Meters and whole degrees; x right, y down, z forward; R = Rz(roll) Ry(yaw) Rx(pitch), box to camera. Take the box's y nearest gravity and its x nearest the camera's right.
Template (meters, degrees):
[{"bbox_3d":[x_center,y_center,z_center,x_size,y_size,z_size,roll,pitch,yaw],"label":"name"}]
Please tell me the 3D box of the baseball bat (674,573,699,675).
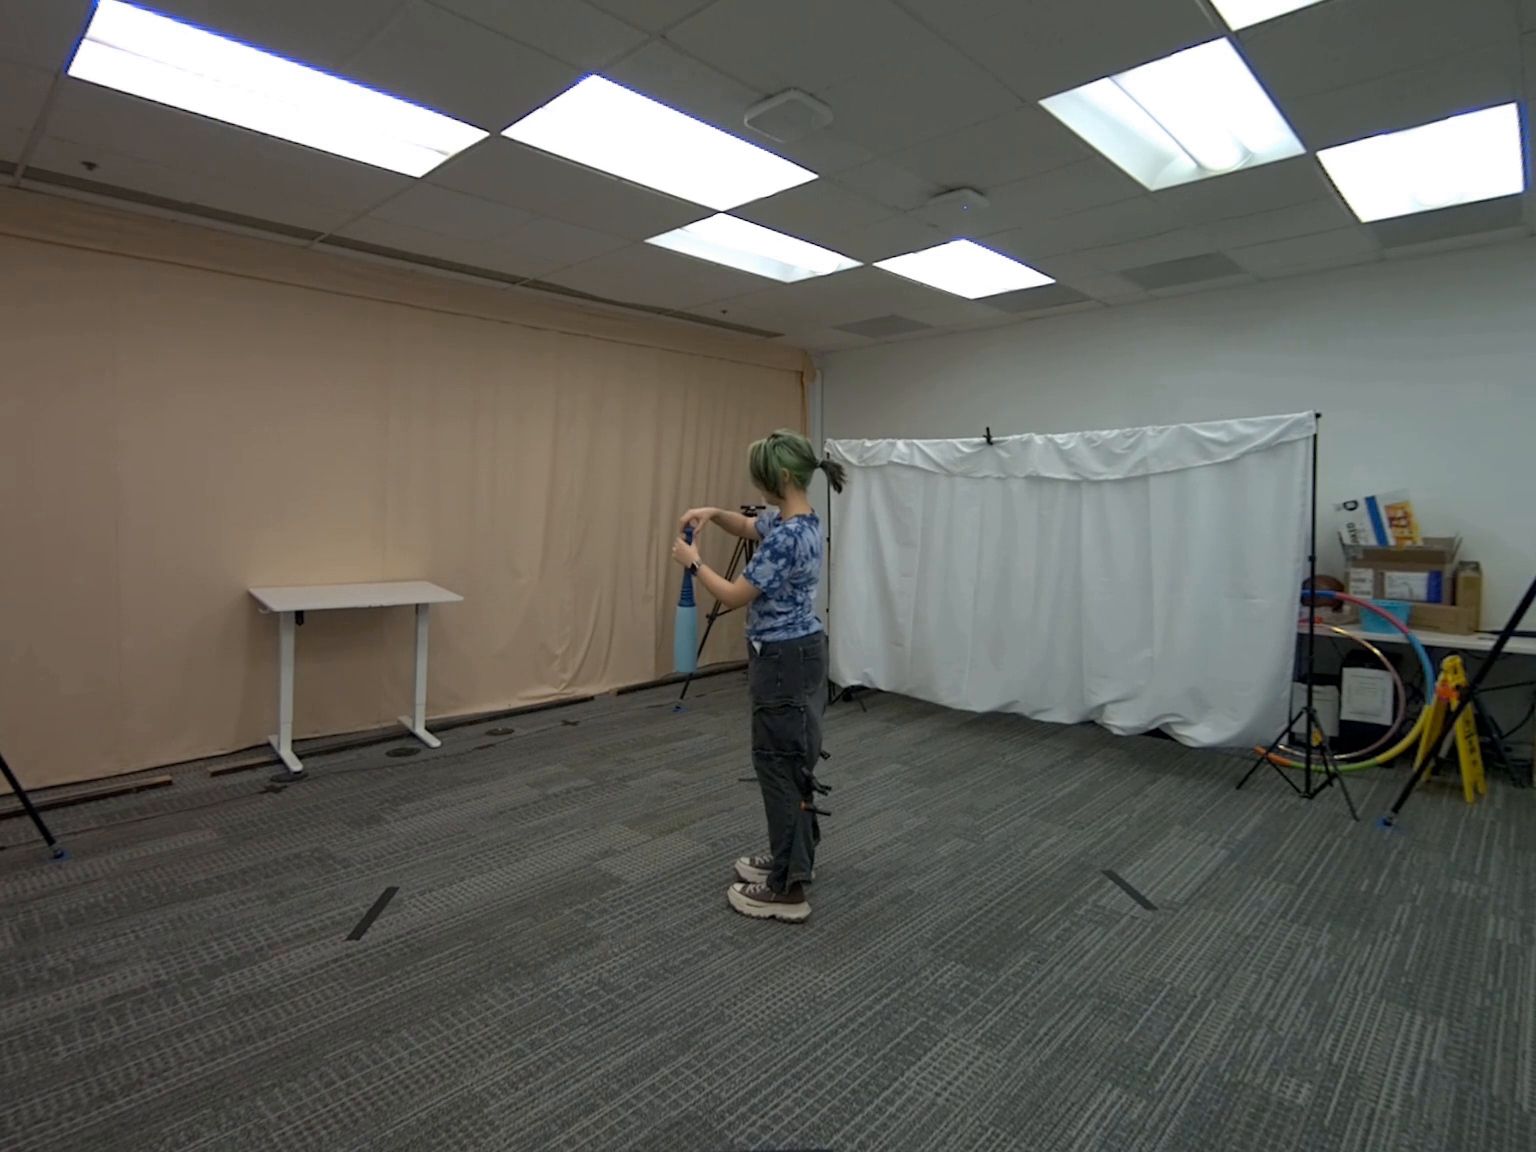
[{"bbox_3d":[-0.301,0.094,3.136,0.089,0.542,0.089,0,2,-2],"label":"baseball bat"}]
